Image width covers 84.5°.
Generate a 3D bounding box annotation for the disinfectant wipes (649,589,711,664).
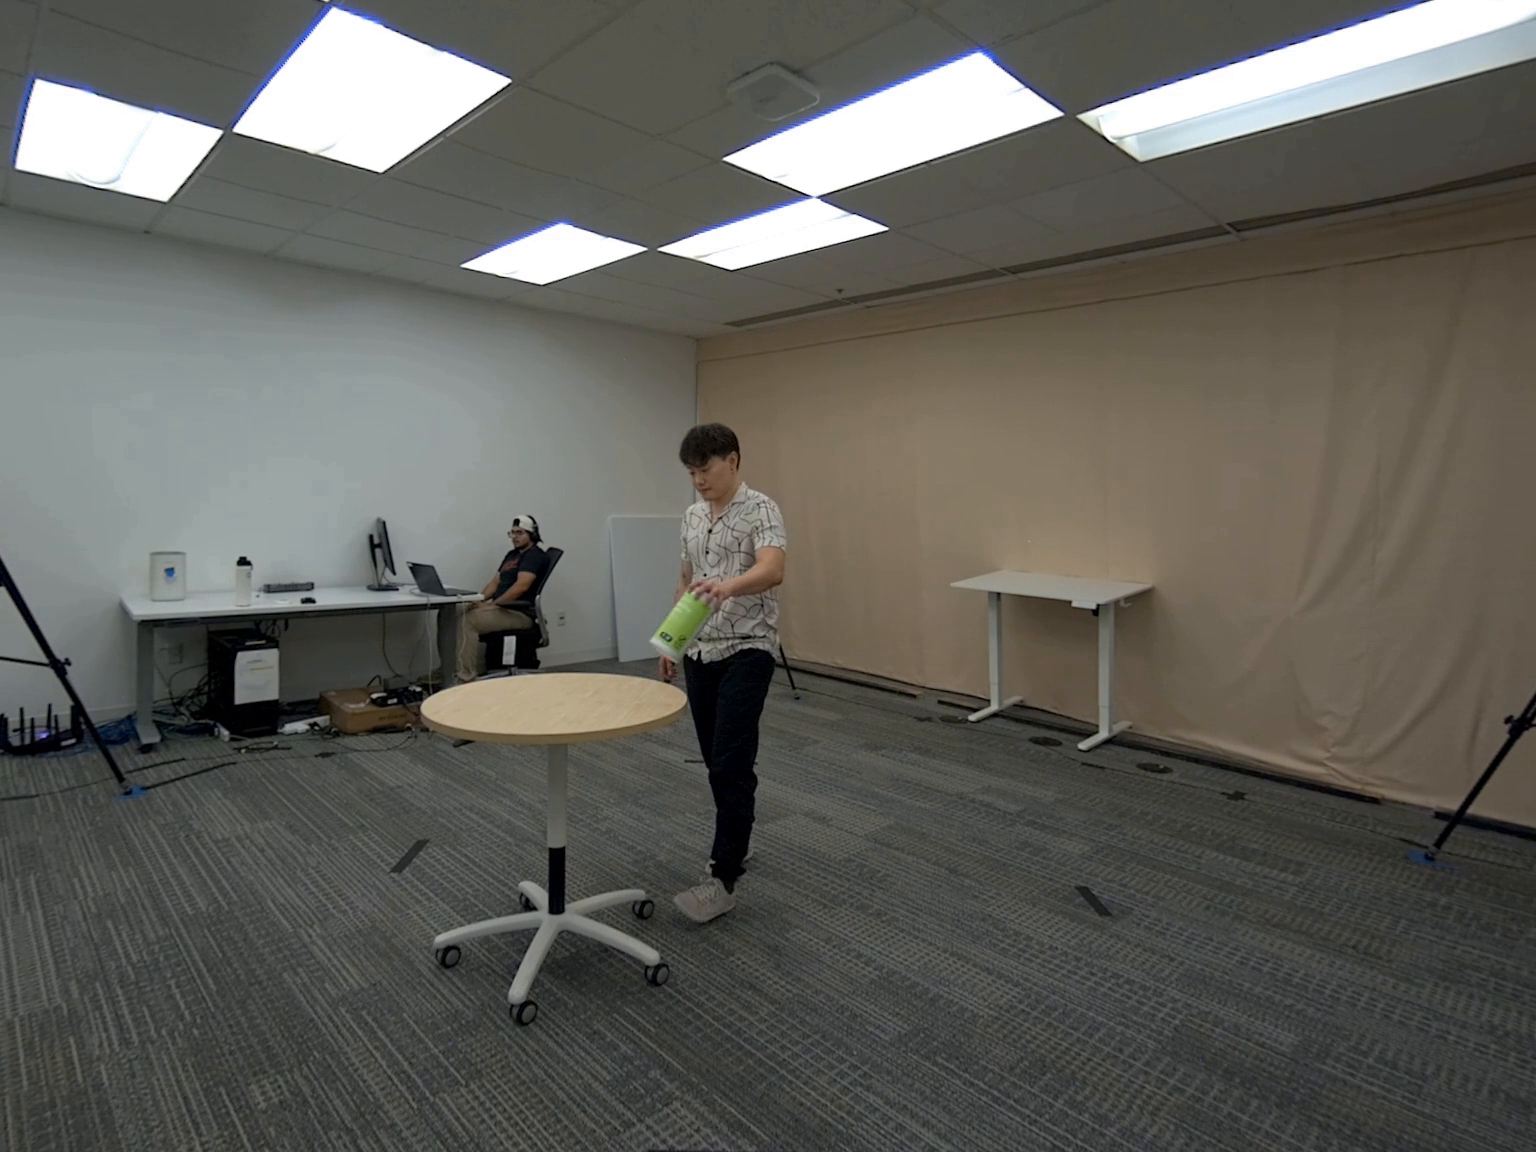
[{"bbox_3d":[-0.261,0.151,2.512,0.119,0.218,0.116,30,-13,6],"label":"disinfectant wipes"}]
